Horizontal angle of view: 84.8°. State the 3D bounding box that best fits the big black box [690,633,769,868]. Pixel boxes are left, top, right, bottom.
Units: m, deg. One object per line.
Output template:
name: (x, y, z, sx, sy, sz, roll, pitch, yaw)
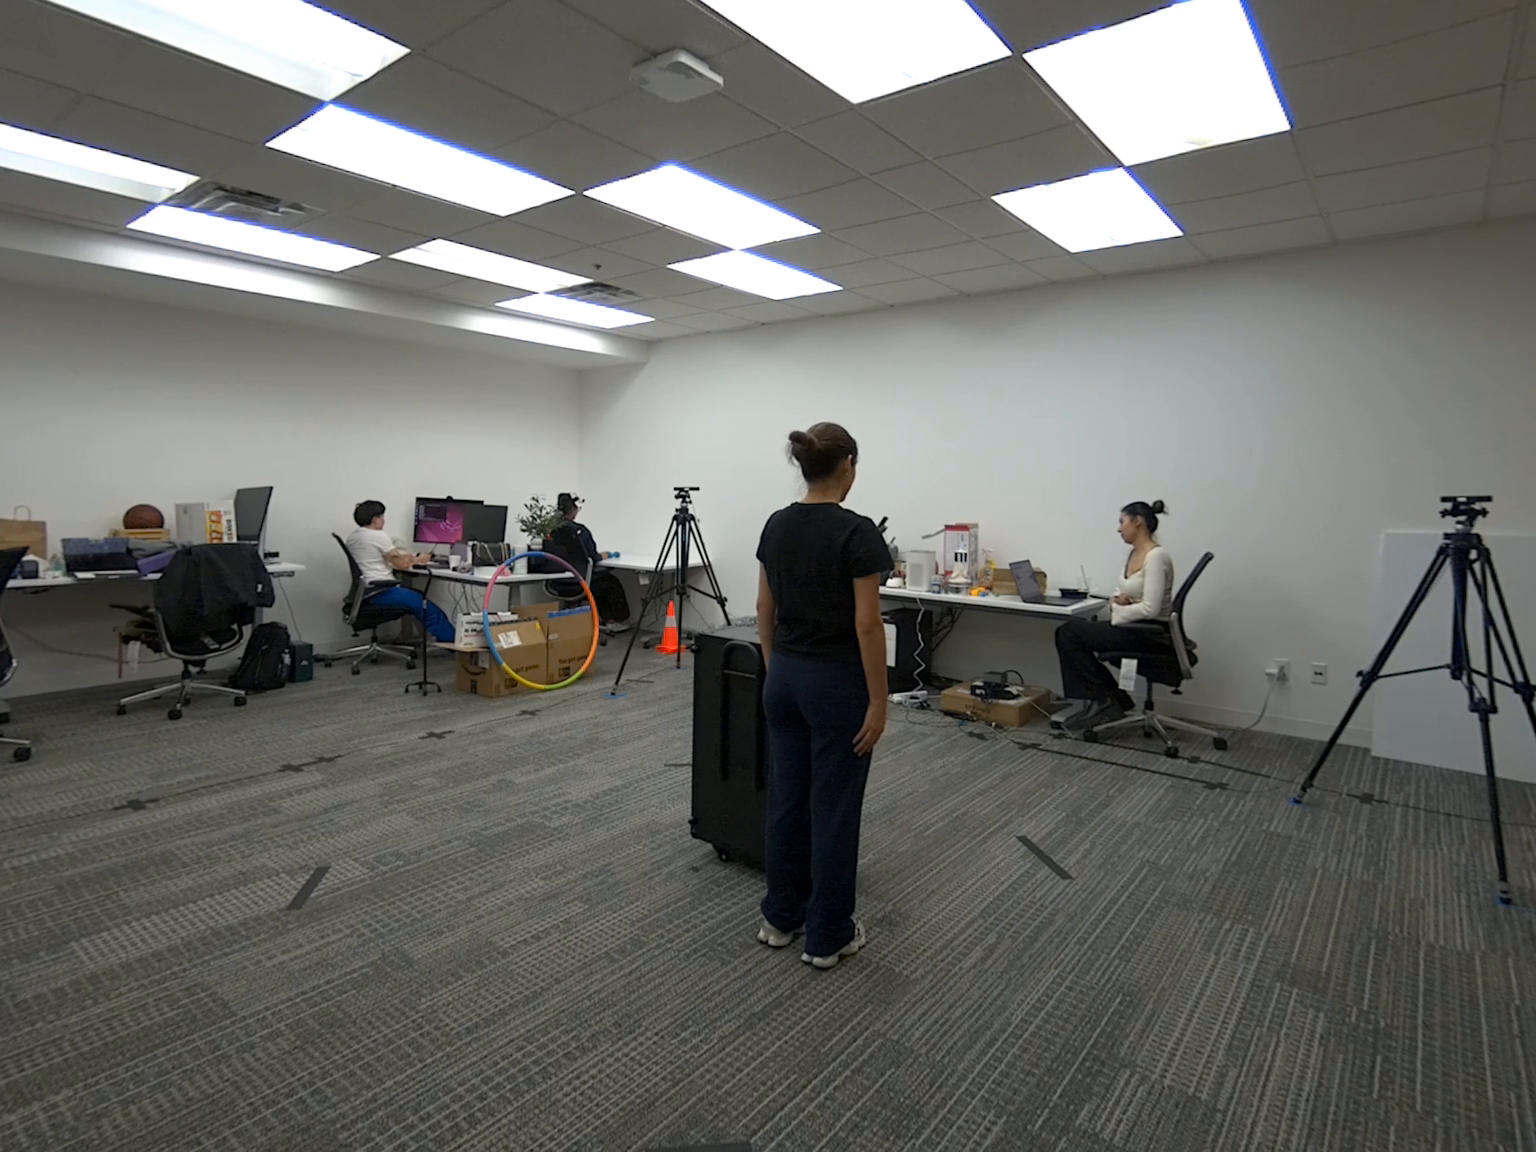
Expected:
big black box: (0.020, 0.639, 3.177, 0.539, 0.859, 0.384, 4, 5, 39)
